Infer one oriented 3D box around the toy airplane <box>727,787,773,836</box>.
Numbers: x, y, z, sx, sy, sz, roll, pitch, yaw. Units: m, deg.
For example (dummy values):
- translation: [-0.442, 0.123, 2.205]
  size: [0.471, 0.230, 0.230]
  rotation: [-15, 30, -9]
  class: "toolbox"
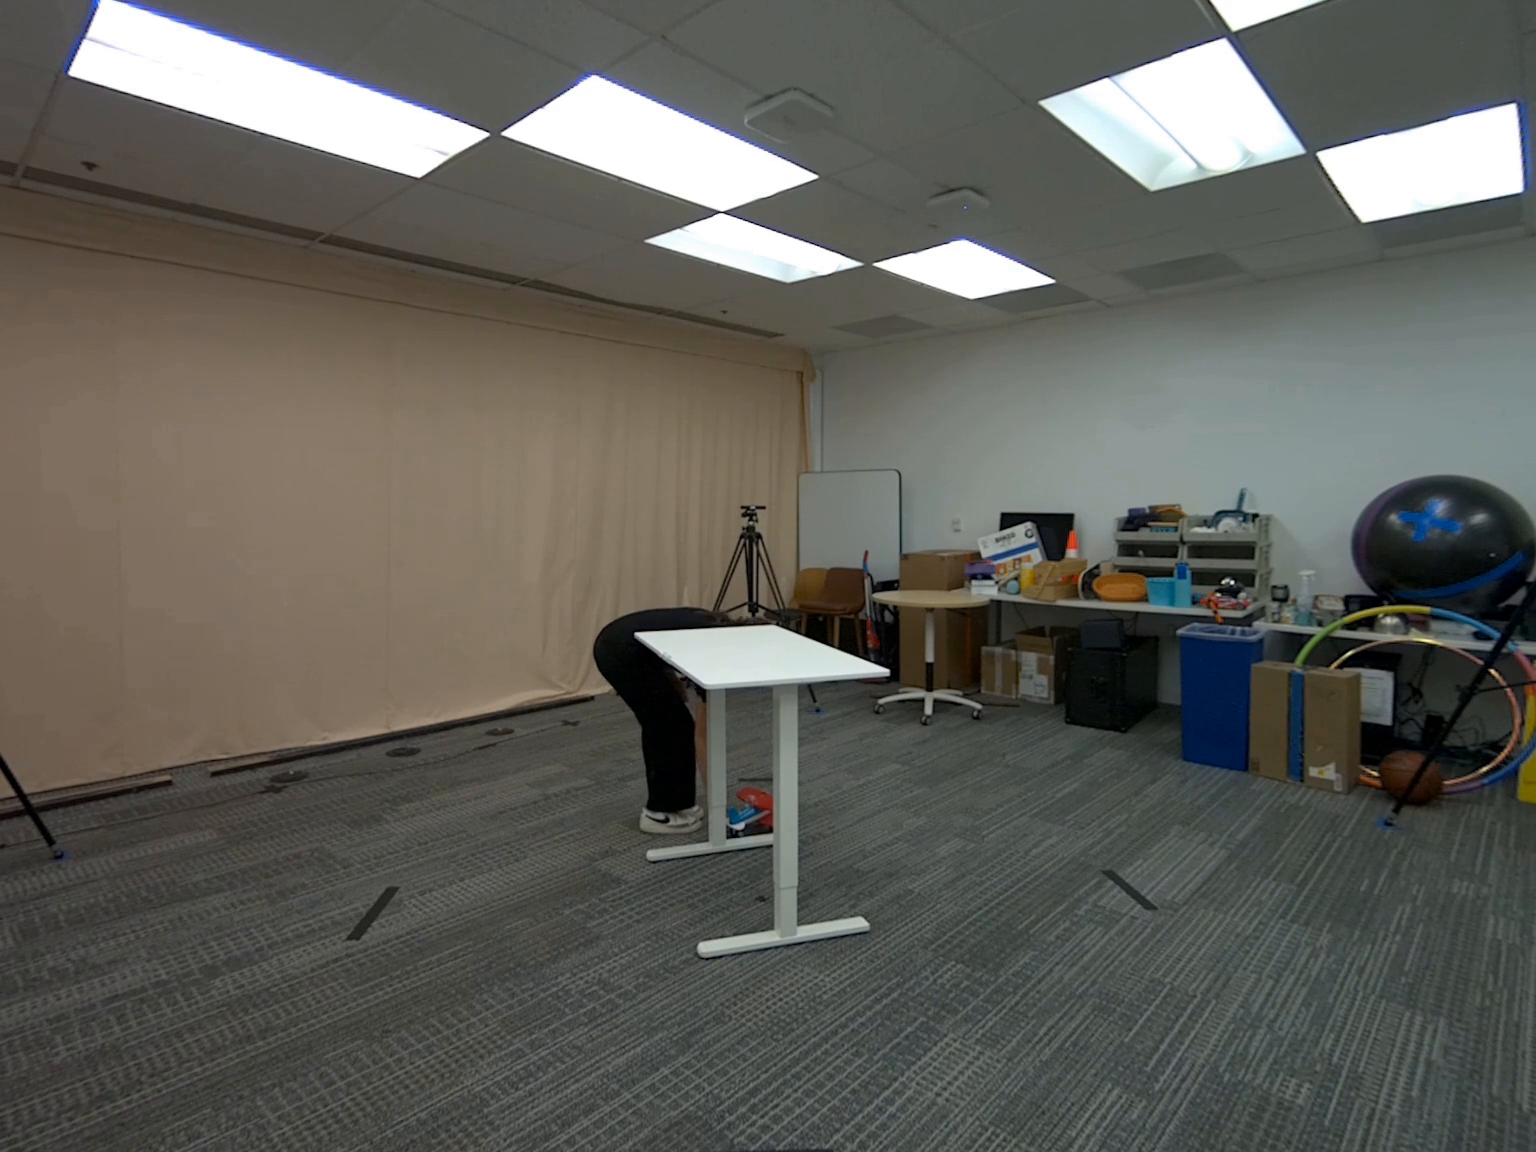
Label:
- translation: [-0.048, 1.020, 3.575]
  size: [0.257, 0.156, 0.253]
  rotation: [2, 3, 24]
  class: "toy airplane"
